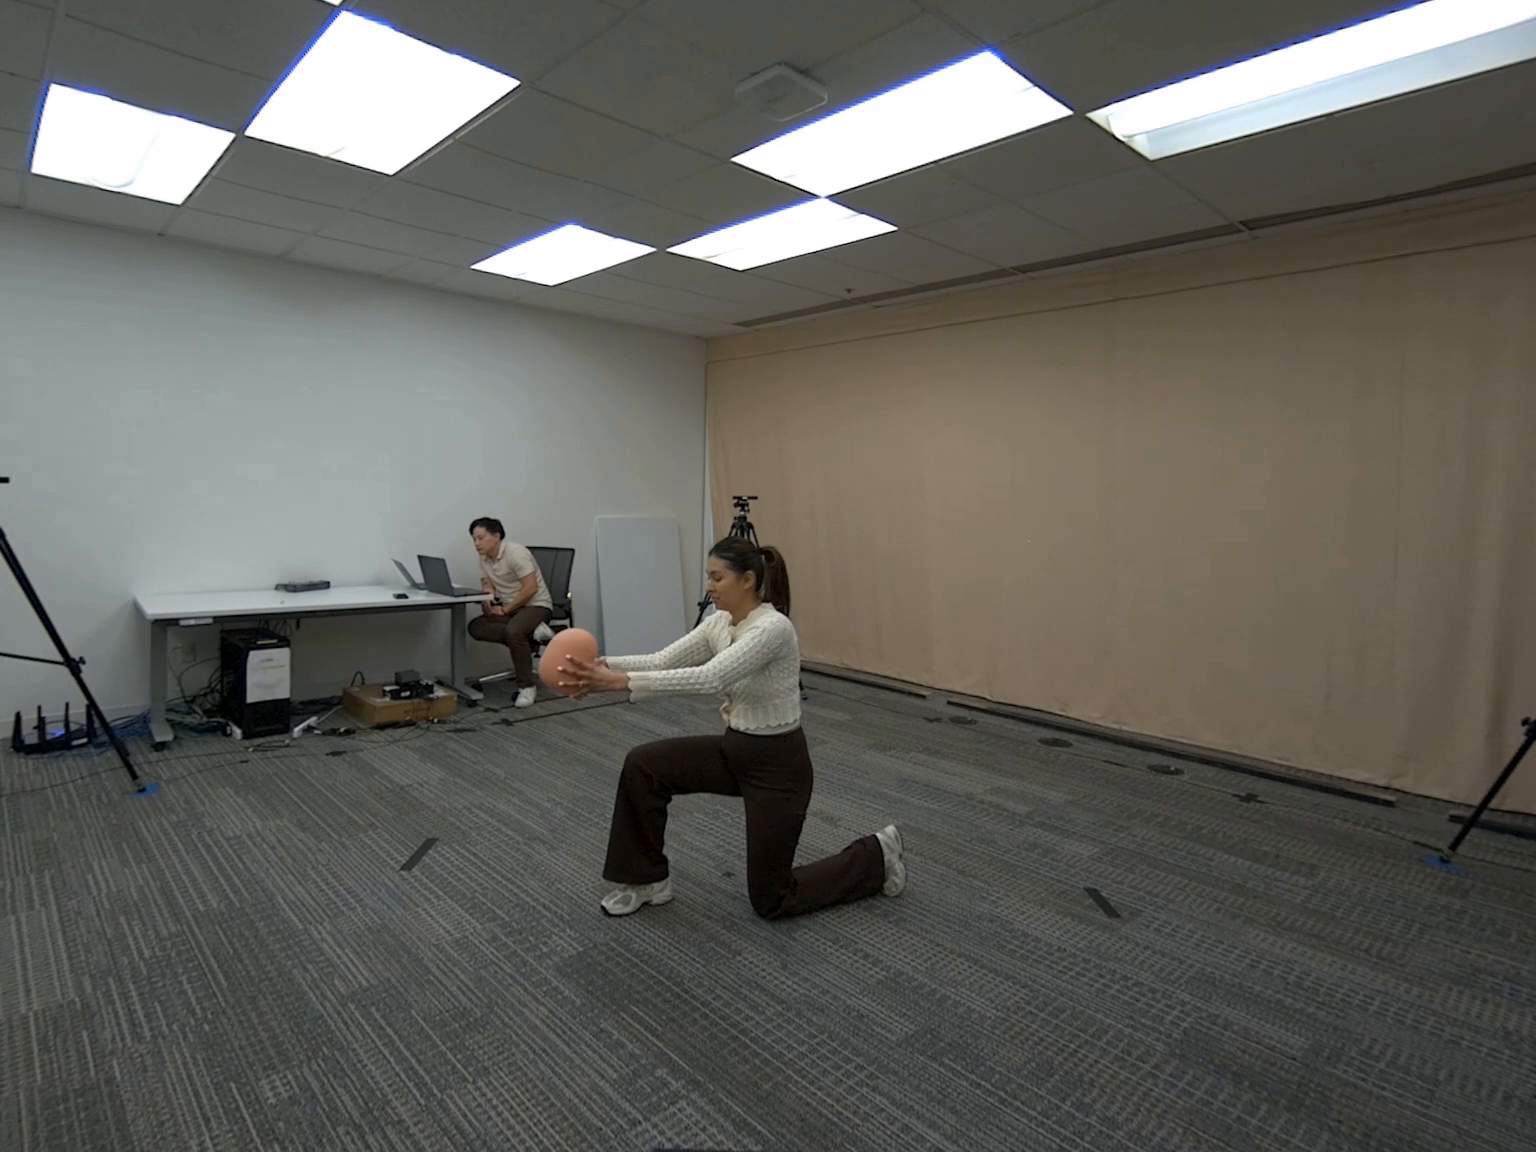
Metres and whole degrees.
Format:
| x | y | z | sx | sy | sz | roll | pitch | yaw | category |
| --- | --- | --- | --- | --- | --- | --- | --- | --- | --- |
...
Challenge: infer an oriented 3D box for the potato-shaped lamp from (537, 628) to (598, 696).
| x | y | z | sx | sy | sz | roll | pitch | yaw | category |
| --- | --- | --- | --- | --- | --- | --- | --- | --- | --- |
| -0.599 | 0.268 | 2.554 | 0.169 | 0.198 | 0.167 | 31 | -2 | -14 | potato-shaped lamp |
